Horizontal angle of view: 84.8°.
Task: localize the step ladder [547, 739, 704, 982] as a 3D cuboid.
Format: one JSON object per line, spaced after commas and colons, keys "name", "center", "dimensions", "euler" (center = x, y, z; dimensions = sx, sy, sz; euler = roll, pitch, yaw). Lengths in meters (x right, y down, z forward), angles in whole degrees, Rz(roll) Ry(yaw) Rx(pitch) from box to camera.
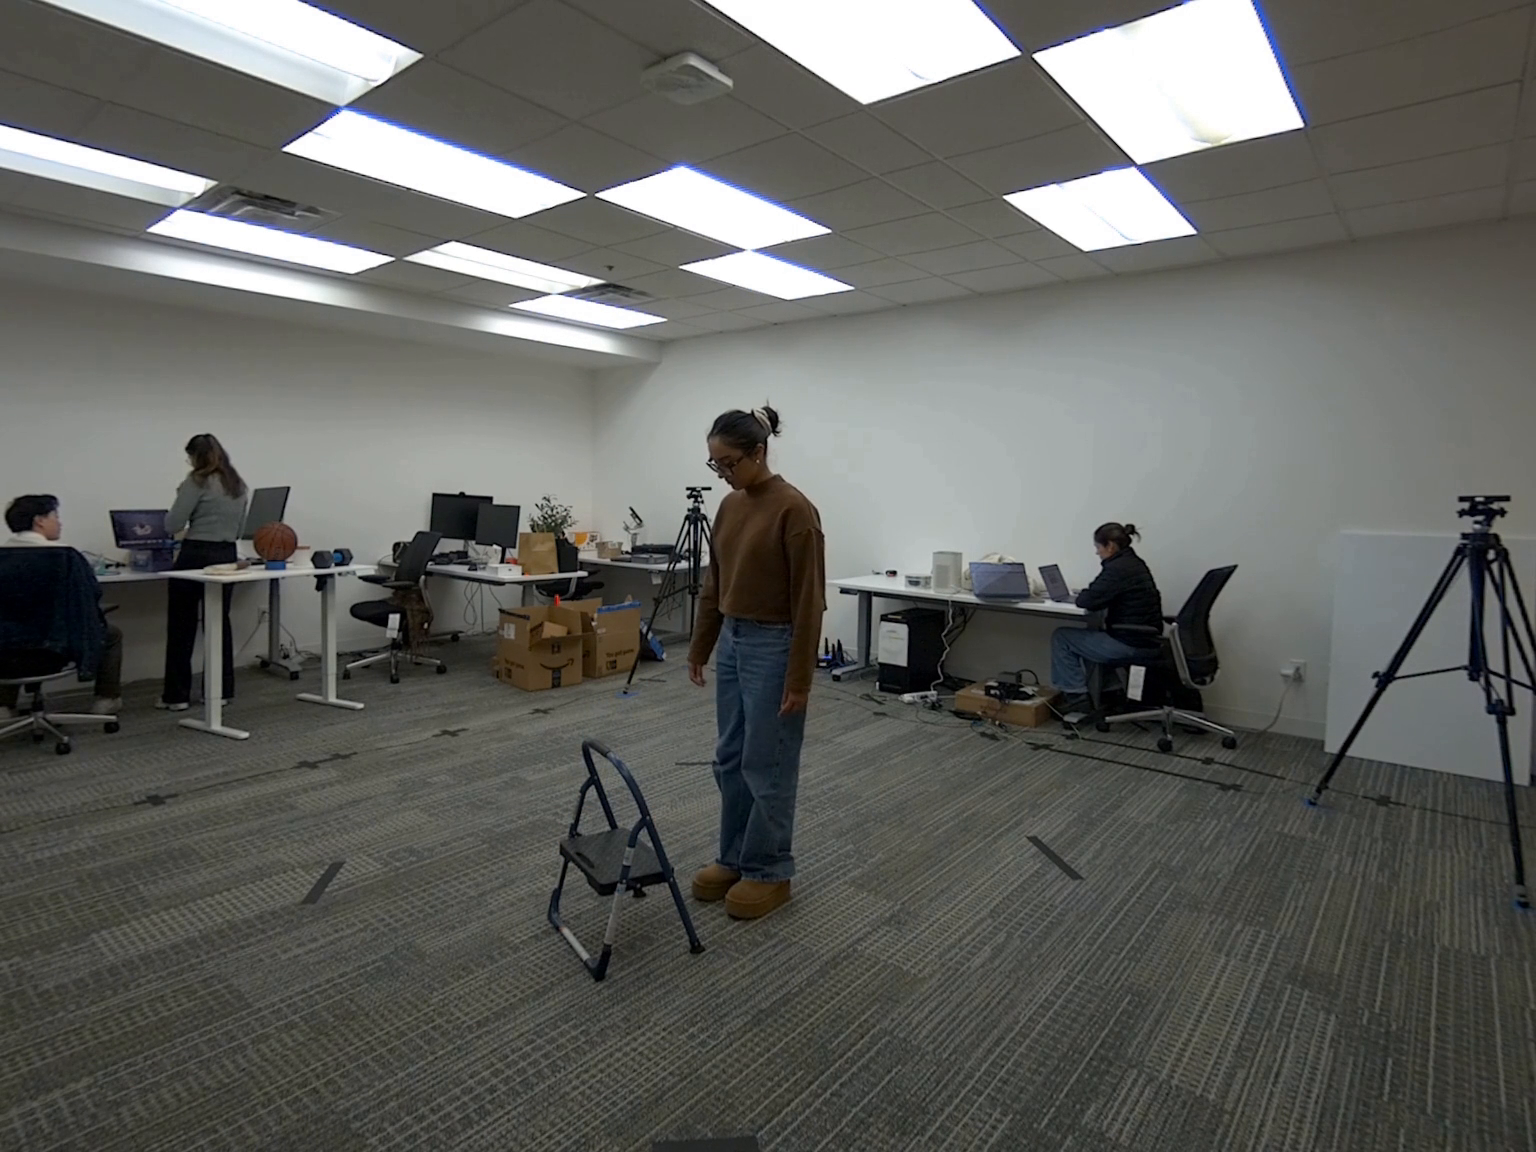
{"name": "step ladder", "center": [-0.454, 0.805, 2.623], "dimensions": [0.339, 0.604, 0.444], "euler": [-1, 4, -33]}
